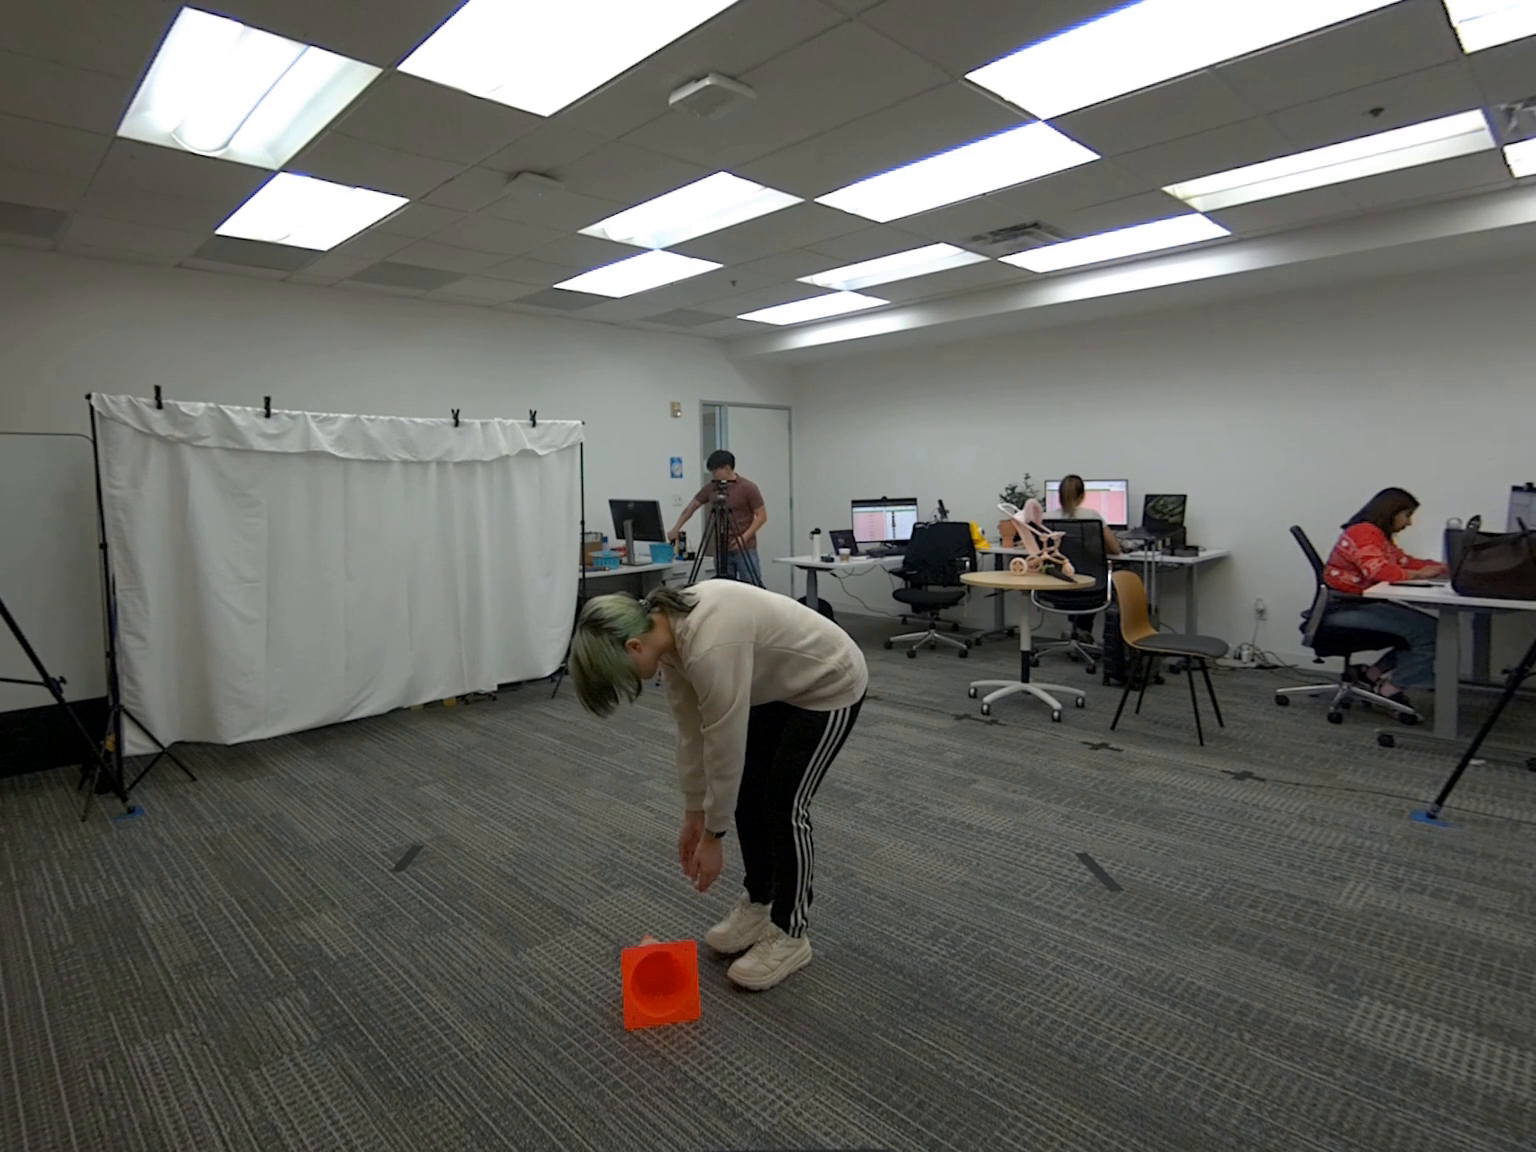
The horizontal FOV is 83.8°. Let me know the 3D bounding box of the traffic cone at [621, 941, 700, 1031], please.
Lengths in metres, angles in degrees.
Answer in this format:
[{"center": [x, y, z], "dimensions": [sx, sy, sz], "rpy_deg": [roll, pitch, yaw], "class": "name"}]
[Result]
[{"center": [-0.328, 1.090, 2.399], "dimensions": [0.202, 0.205, 0.385], "rpy_deg": [-3, -6, -13], "class": "traffic cone"}]
